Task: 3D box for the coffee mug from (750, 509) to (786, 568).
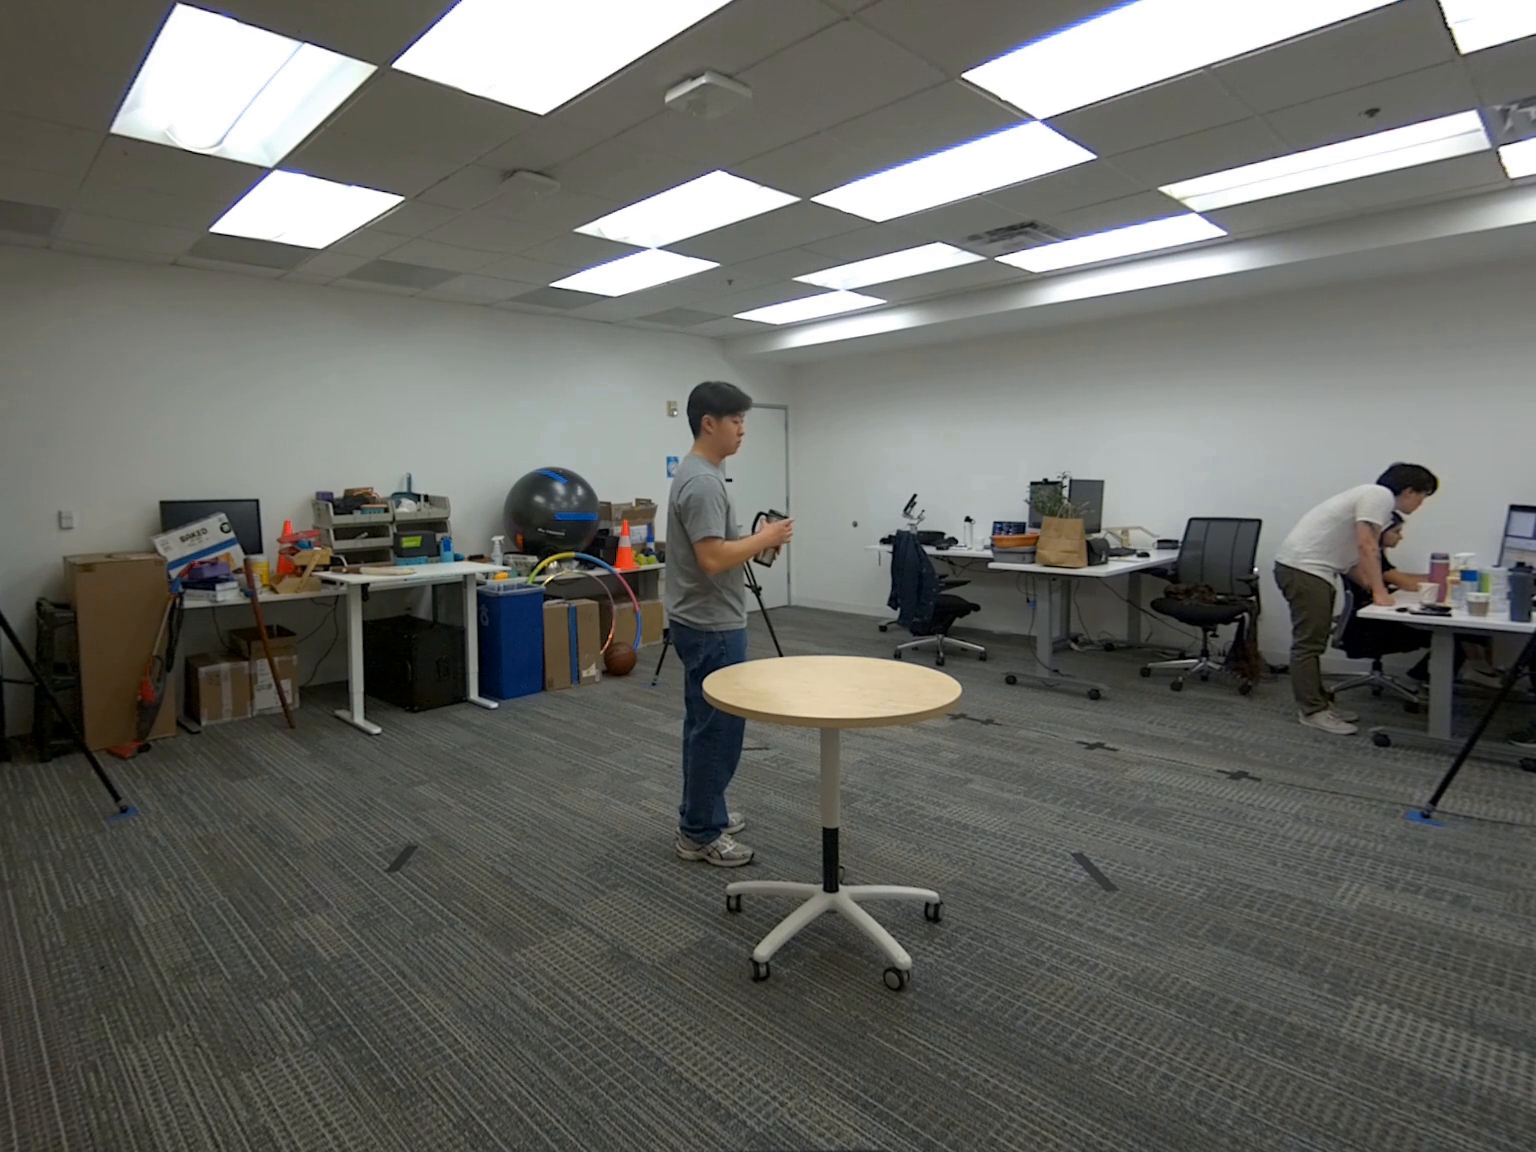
[{"bbox_3d":[0.005,-0.144,3.147,0.126,0.202,0.085,24,7,35],"label":"coffee mug"}]
